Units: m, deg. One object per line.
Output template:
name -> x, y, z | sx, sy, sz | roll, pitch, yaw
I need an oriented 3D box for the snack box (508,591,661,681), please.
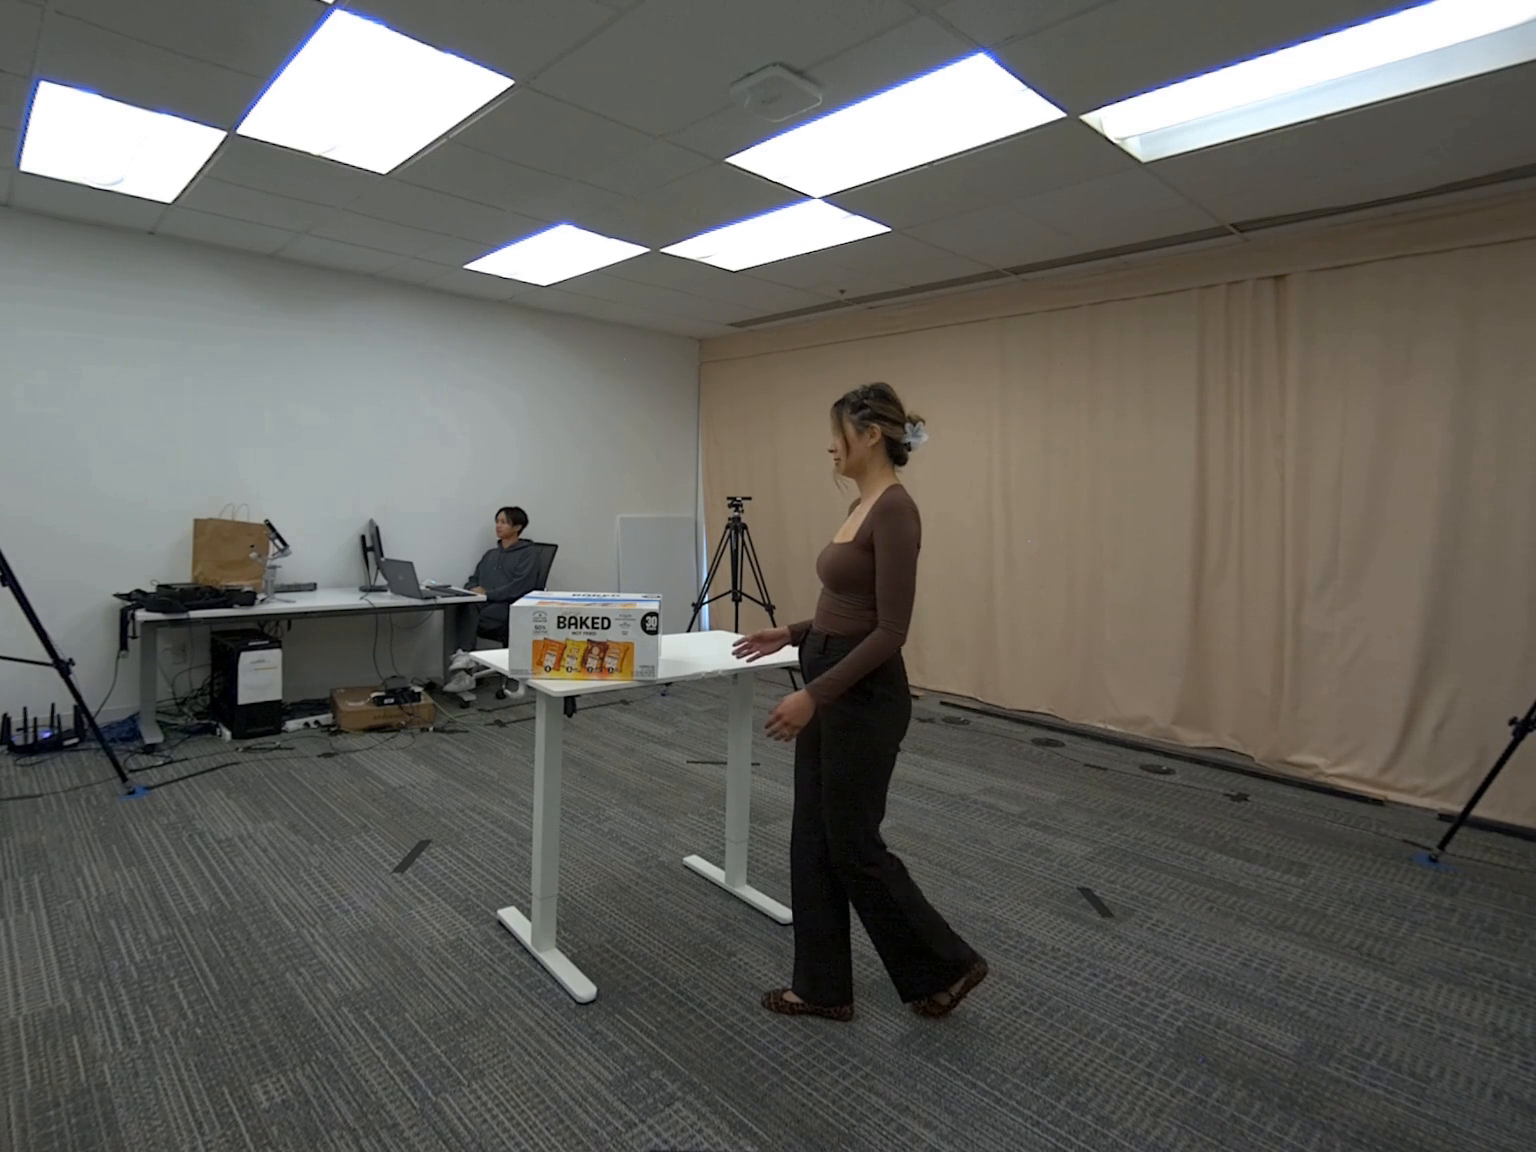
snack box -> -0.526, 0.172, 2.458 | 0.404, 0.205, 0.342 | 1, 6, -4
